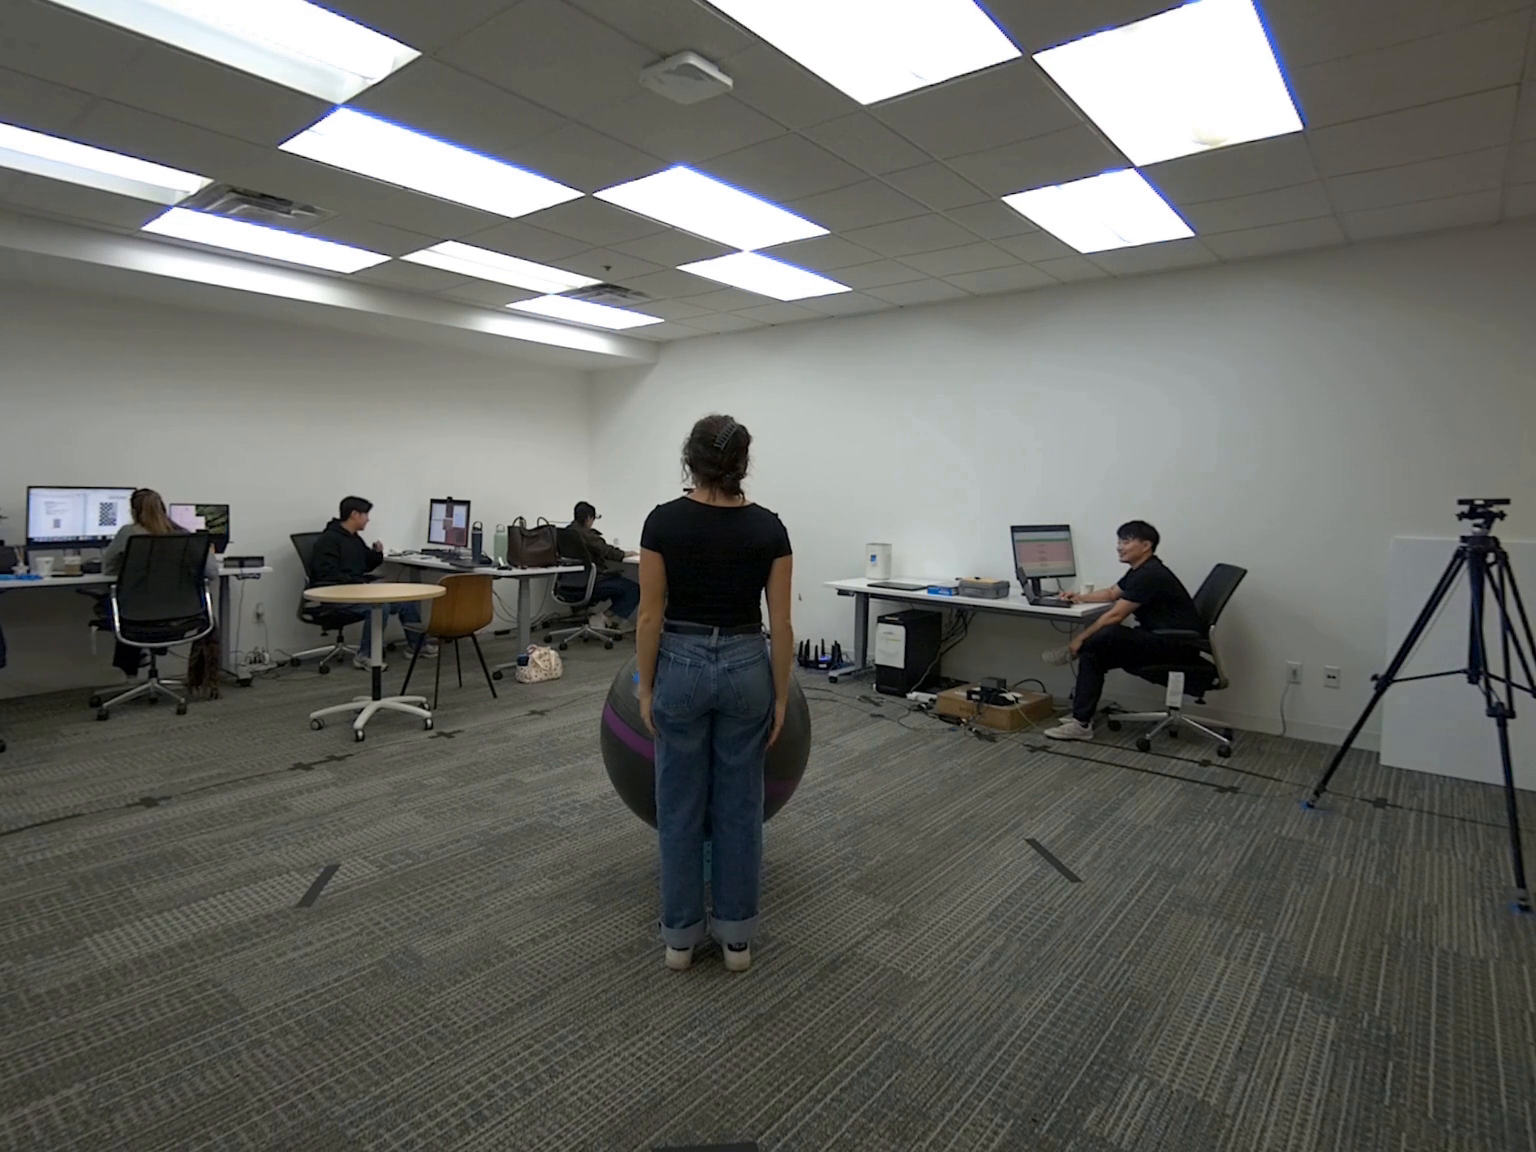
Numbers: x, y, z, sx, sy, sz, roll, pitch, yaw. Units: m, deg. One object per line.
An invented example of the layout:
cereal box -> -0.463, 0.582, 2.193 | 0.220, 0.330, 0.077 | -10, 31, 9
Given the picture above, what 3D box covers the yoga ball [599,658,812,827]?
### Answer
yoga ball -> -0.225, 0.561, 3.084 | 0.757, 0.756, 0.762 | 1, 4, -2
